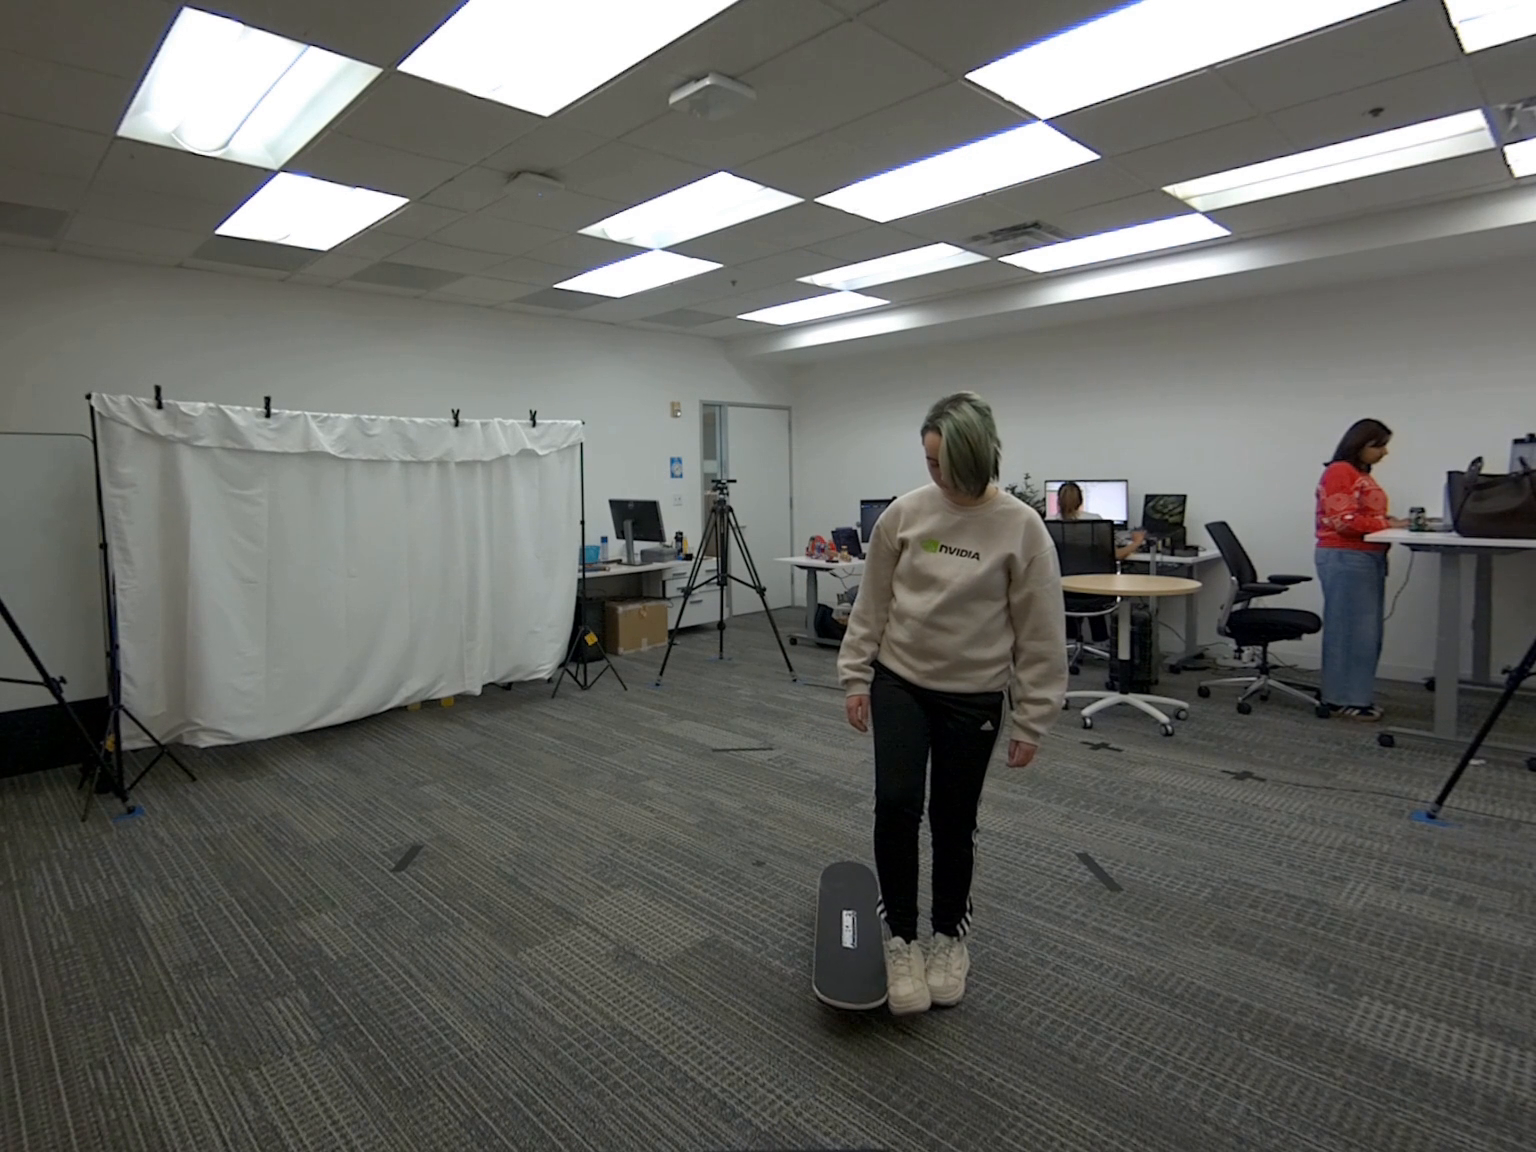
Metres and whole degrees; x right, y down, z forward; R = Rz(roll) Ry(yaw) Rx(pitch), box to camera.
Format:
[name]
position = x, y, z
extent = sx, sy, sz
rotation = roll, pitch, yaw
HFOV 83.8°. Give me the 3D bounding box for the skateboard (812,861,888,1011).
[skateboard]
position = 0.239, 1.054, 2.494
extent = 0.195, 0.110, 0.784
rotation = 1, 7, 5
